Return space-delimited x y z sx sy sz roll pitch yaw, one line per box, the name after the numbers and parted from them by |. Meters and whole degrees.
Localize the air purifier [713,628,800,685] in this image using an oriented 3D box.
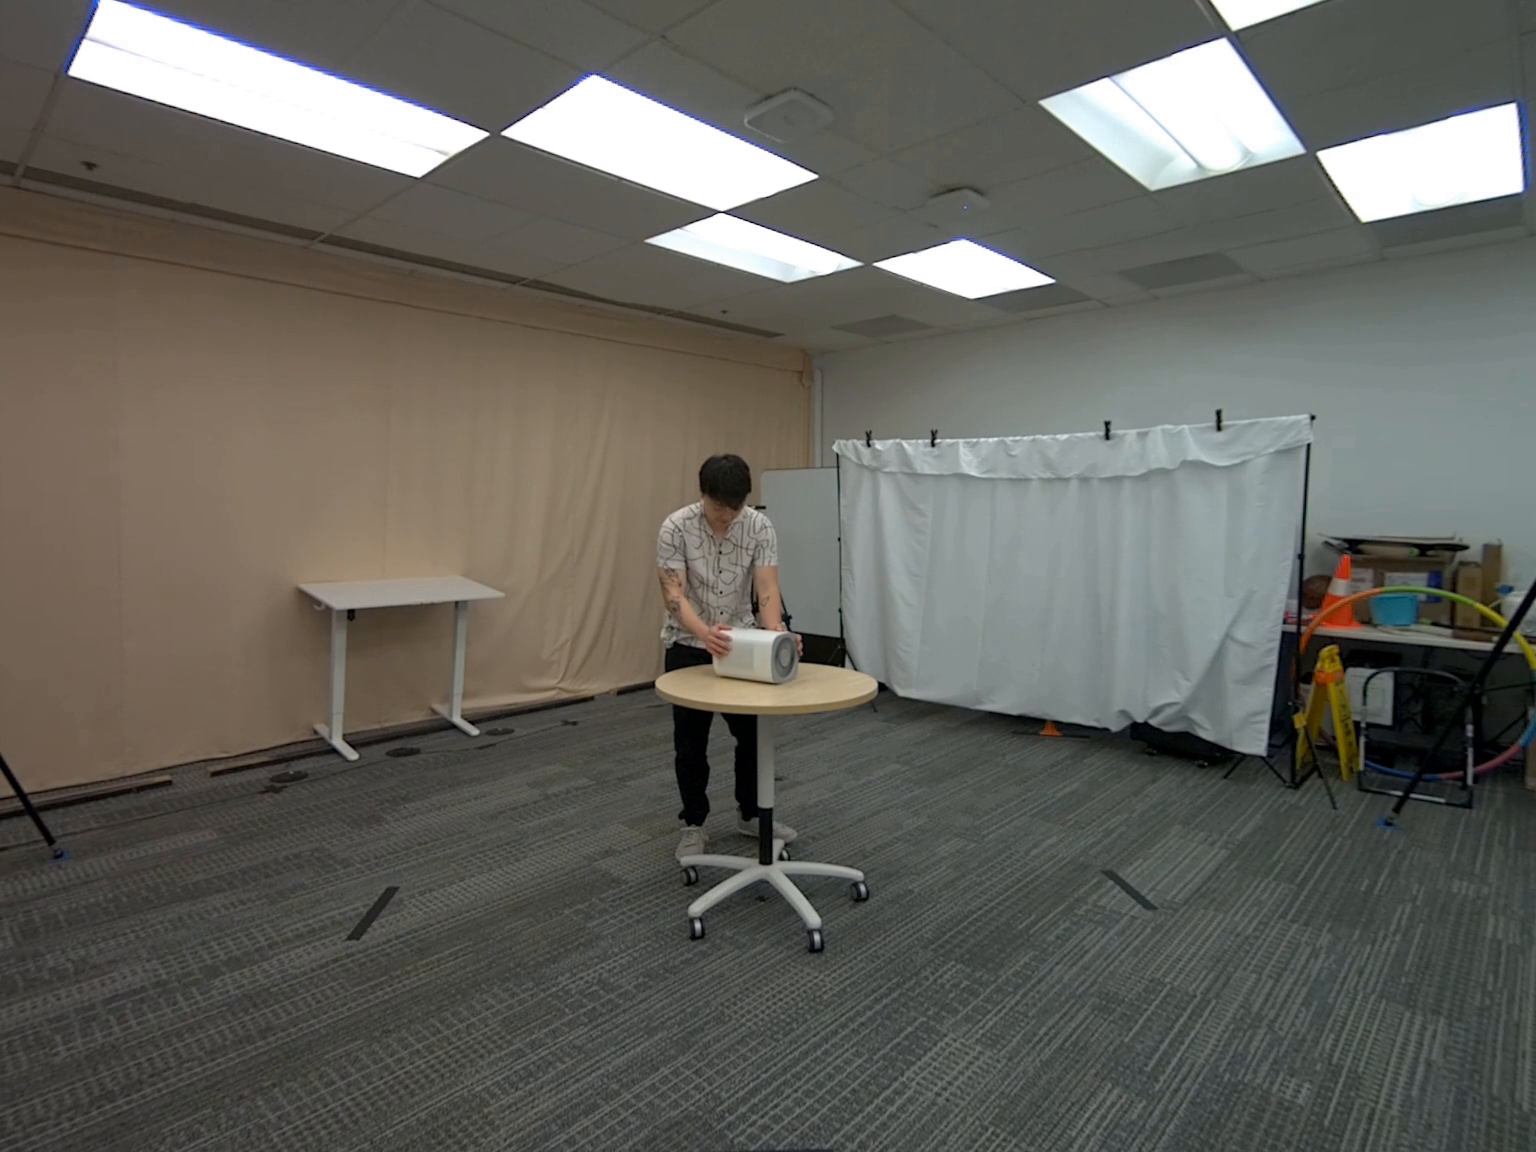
-0.042 0.274 2.963 0.274 0.171 0.166 2 2 35 | air purifier
